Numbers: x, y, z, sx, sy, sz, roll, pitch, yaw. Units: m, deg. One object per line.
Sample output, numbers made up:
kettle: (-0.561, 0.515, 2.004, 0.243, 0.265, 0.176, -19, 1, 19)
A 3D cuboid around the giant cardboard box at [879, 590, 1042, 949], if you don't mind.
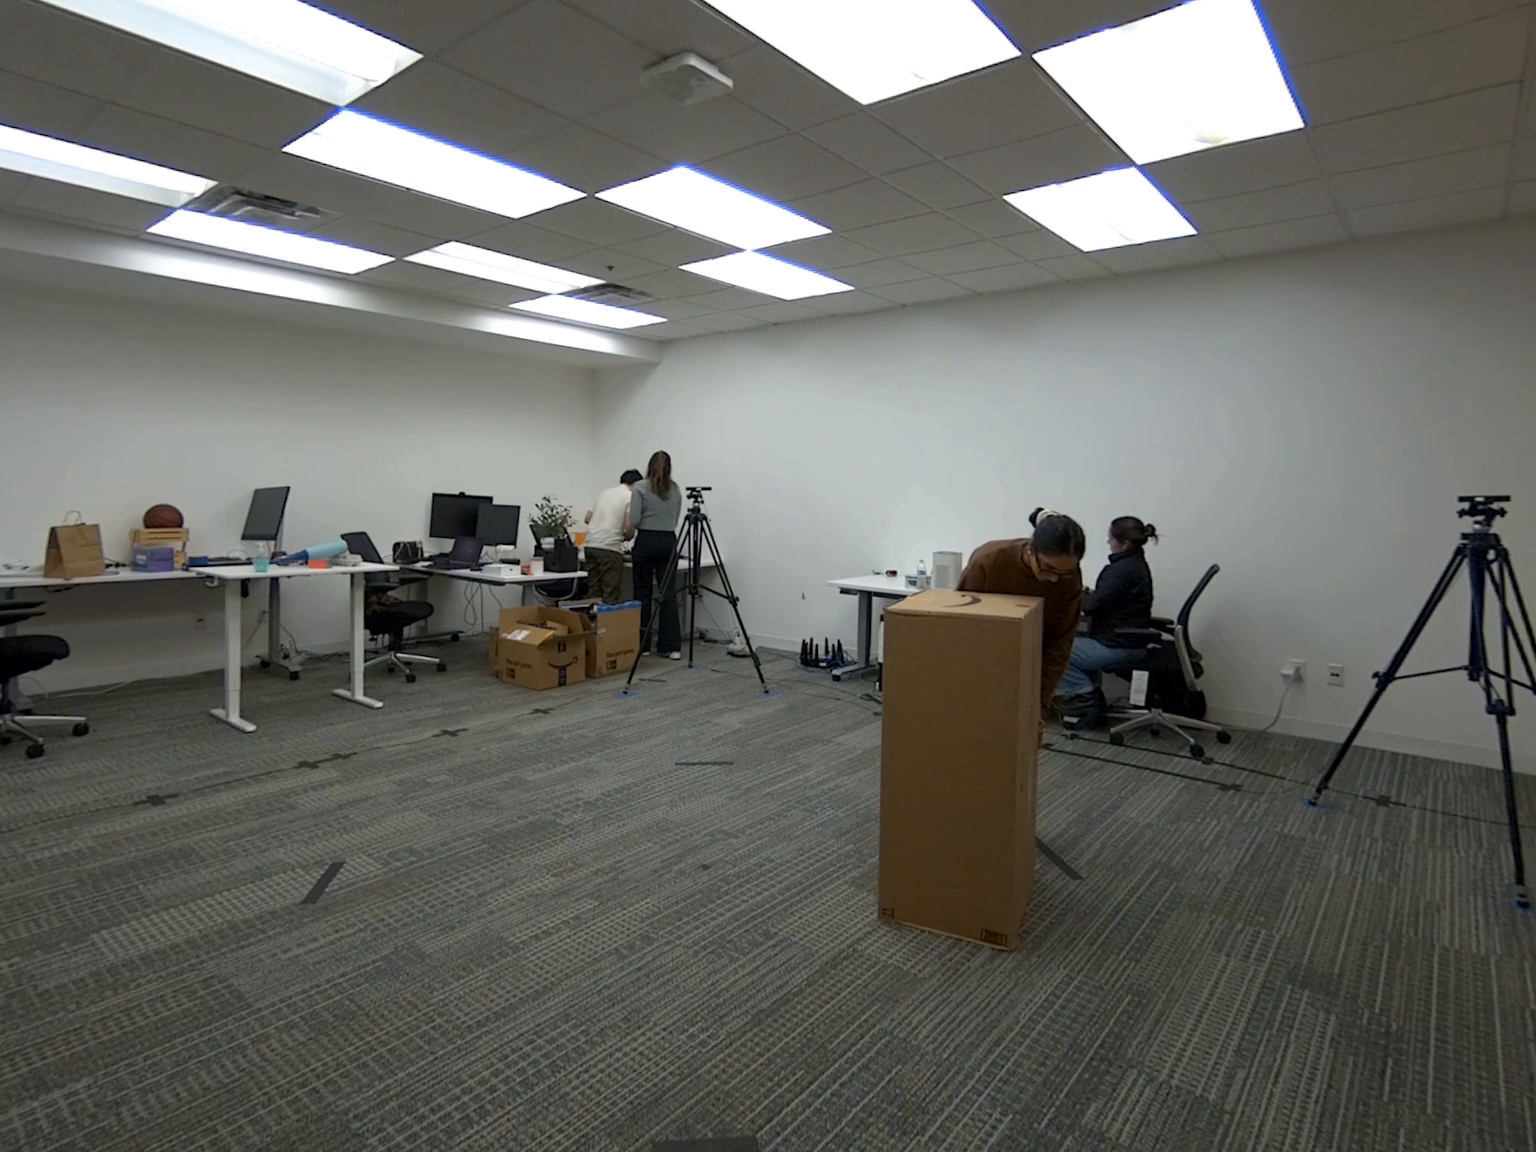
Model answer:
giant cardboard box: (0.655, 0.597, 2.896, 0.437, 1.022, 0.565, 2, 4, 25)
